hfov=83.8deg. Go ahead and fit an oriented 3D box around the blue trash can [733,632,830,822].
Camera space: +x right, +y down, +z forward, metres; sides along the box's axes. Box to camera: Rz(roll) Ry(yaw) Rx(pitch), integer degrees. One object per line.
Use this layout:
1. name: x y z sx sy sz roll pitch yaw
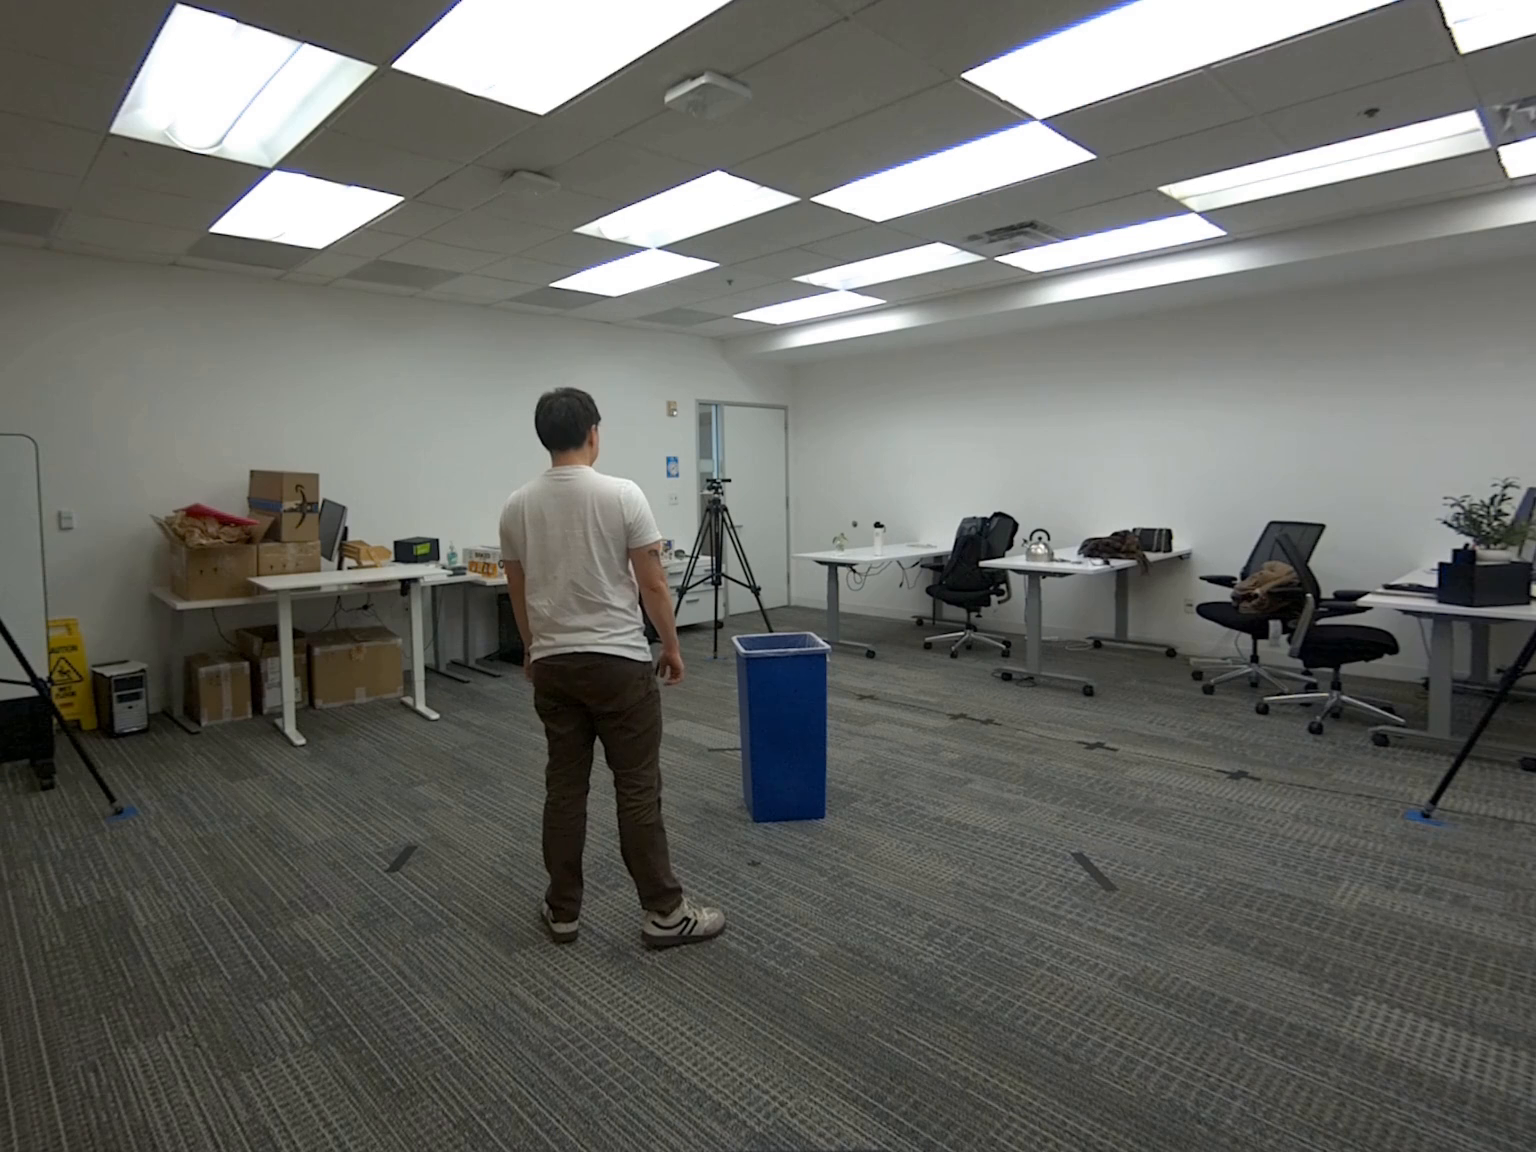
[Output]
1. blue trash can: 0.056 0.628 3.622 0.375 0.711 0.378 -2 4 -8
